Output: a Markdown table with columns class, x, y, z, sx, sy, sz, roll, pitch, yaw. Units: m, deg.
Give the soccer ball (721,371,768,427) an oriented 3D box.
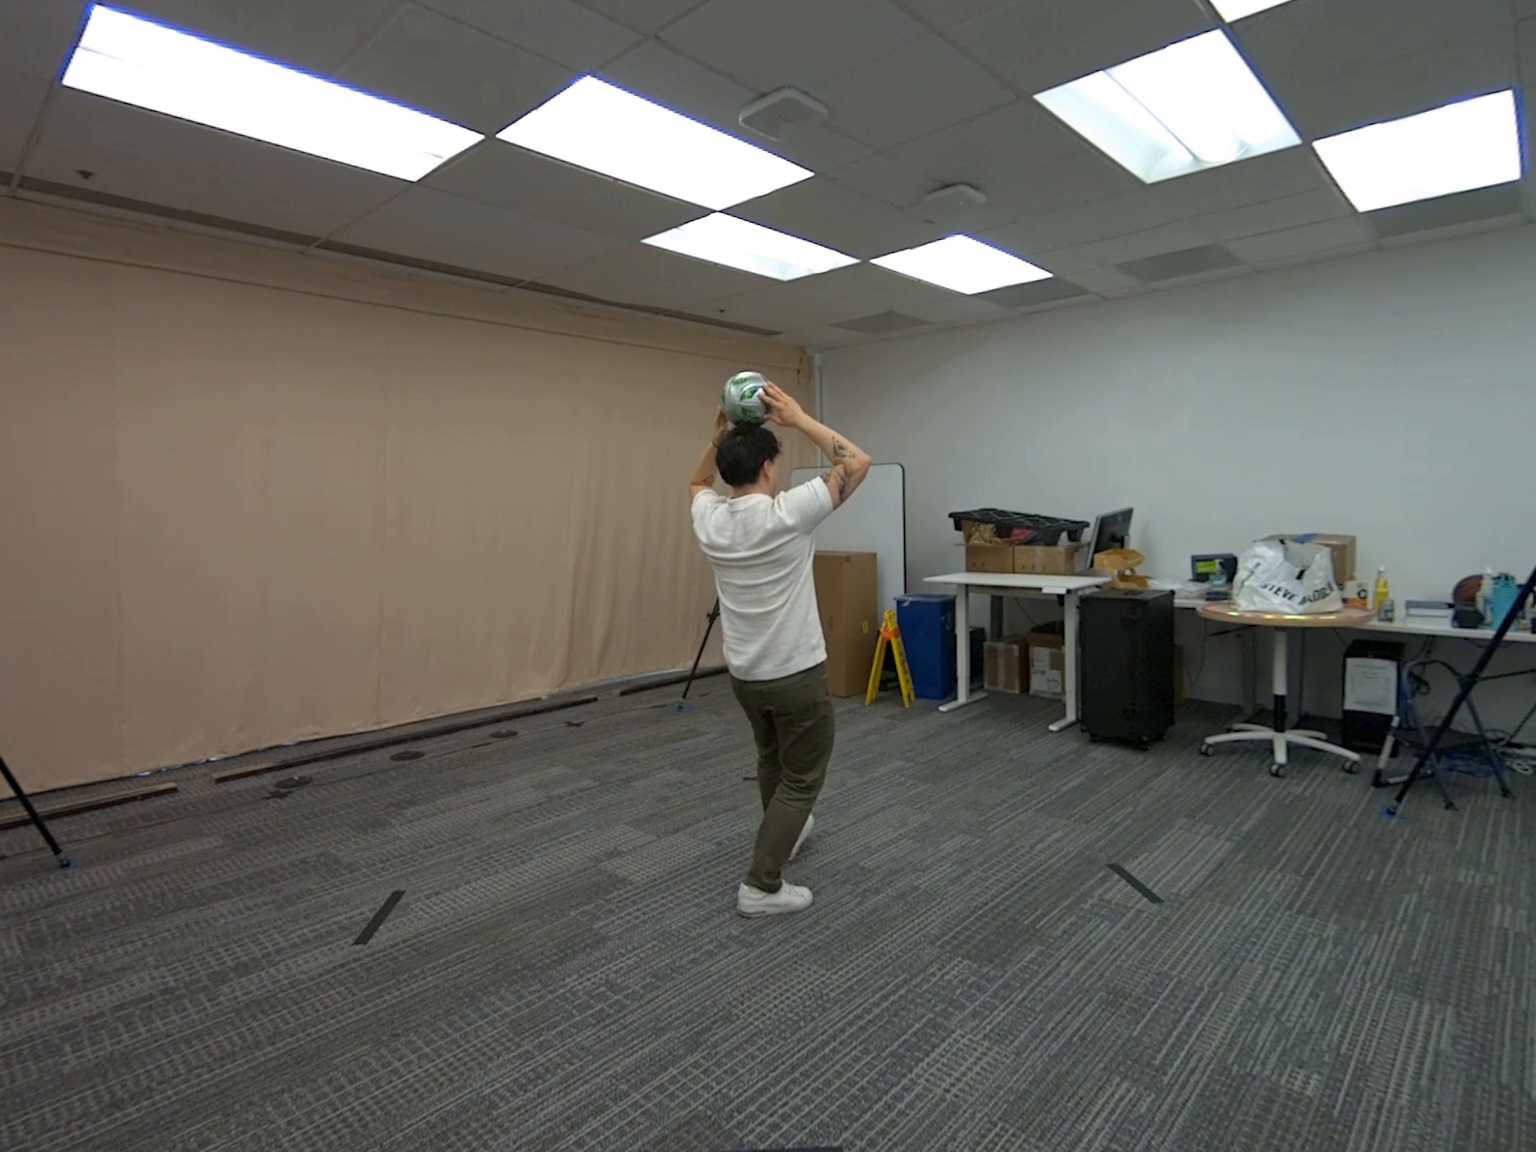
| class | x | y | z | sx | sy | sz | roll | pitch | yaw |
| --- | --- | --- | --- | --- | --- | --- | --- | --- | --- |
| soccer ball | -0.061 | -0.576 | 2.791 | 0.187 | 0.187 | 0.188 | -1 | 4 | -2 |
